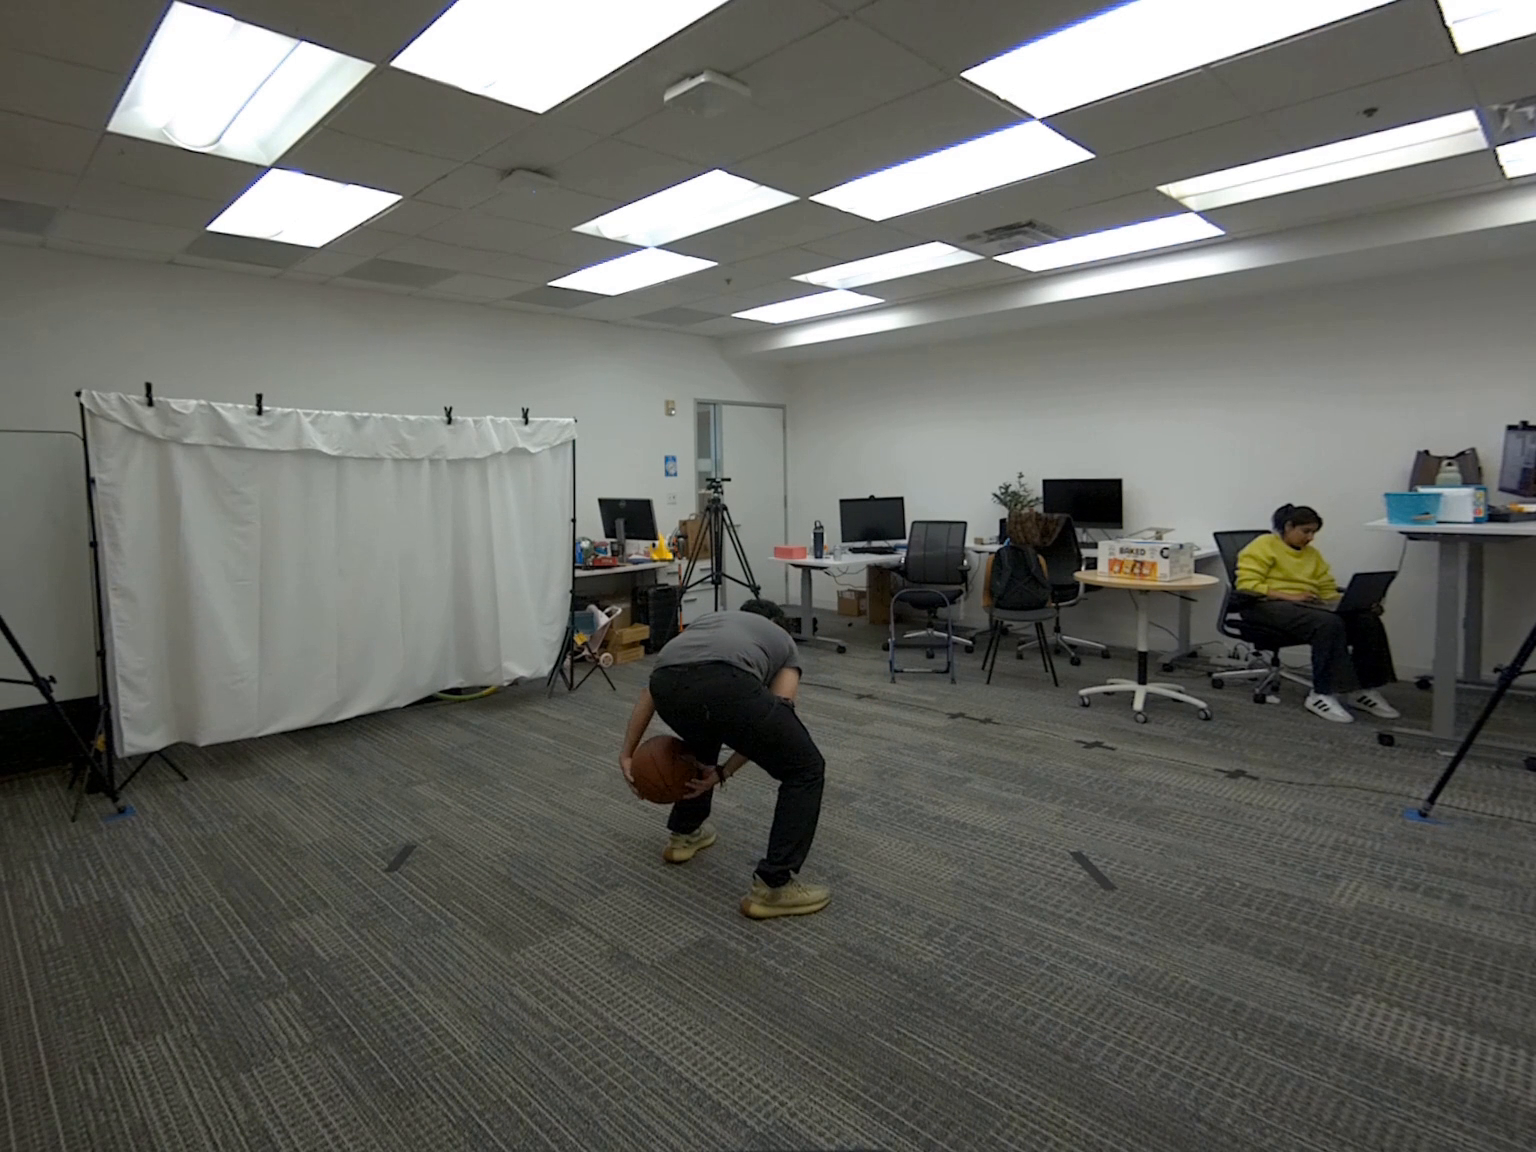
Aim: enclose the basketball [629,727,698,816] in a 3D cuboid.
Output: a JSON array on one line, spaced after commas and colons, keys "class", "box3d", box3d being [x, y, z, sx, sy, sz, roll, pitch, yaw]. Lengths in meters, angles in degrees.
[{"class": "basketball", "box3d": [-0.365, 0.690, 3.055, 0.236, 0.235, 0.237, -1, 5, -2]}]
